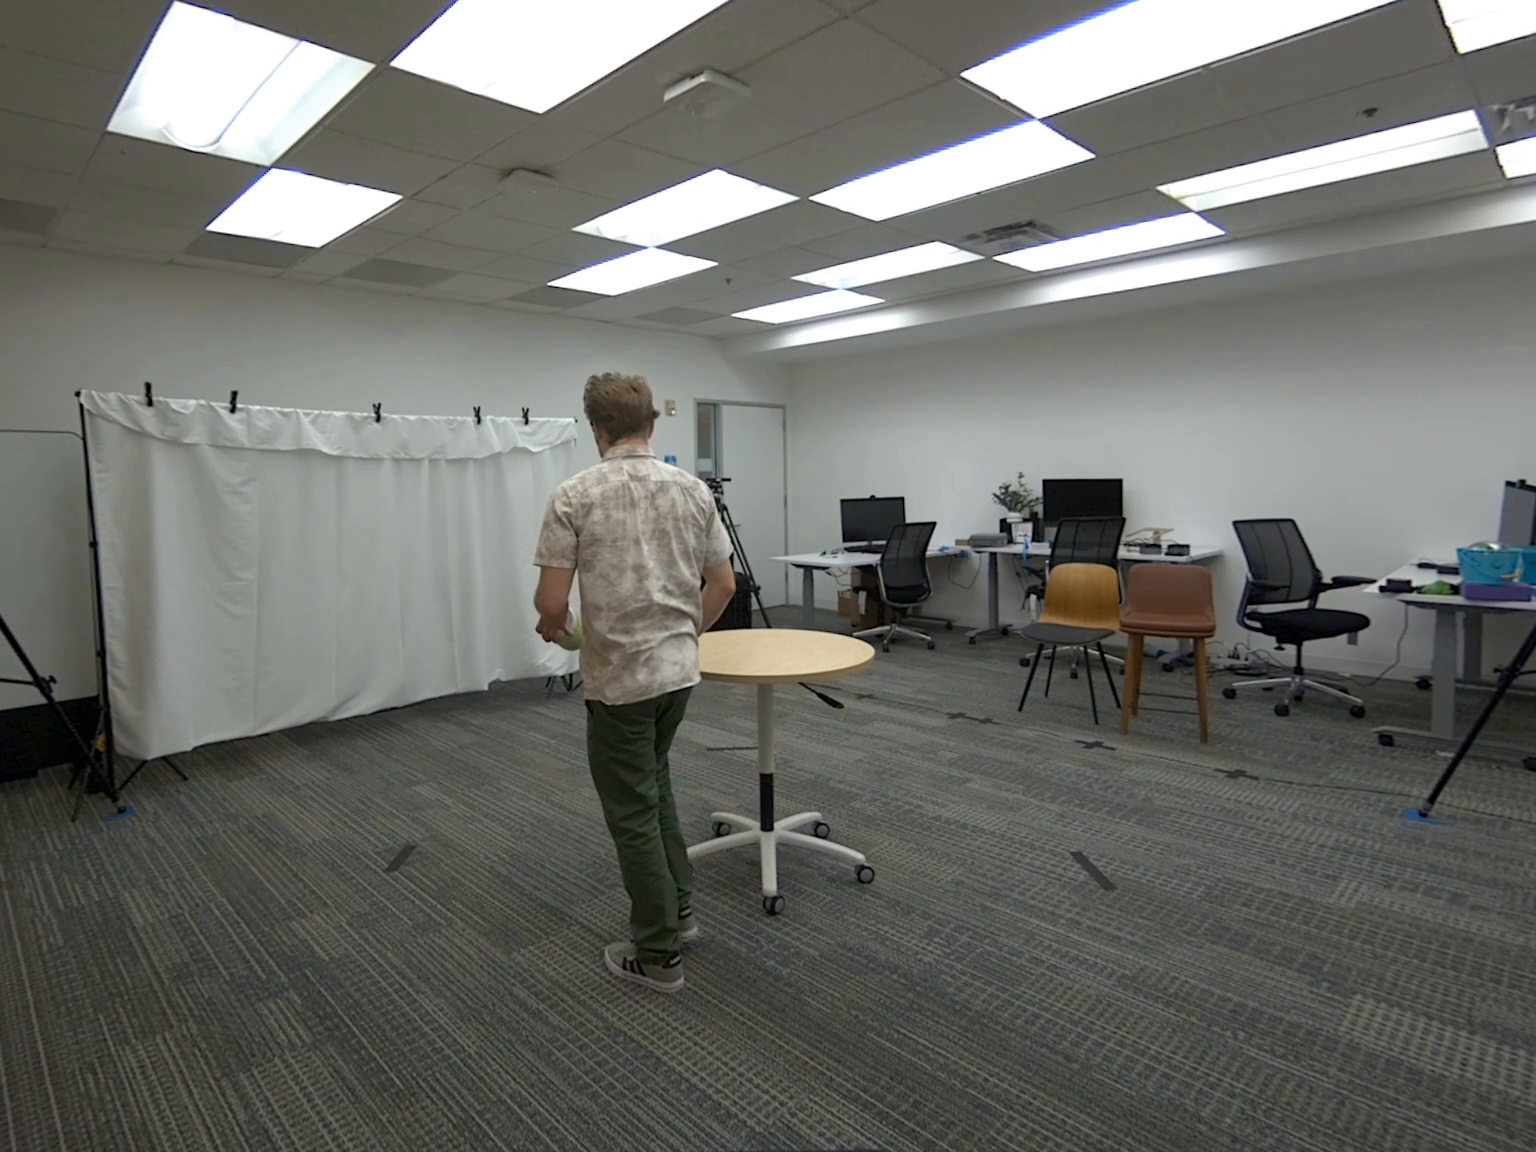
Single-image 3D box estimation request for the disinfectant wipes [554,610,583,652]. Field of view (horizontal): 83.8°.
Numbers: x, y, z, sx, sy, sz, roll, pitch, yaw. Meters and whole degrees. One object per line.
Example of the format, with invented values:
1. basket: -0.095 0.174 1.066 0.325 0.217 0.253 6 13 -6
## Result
1. disinfectant wipes: -0.634 0.161 2.690 0.118 0.119 0.213 0 -16 2
